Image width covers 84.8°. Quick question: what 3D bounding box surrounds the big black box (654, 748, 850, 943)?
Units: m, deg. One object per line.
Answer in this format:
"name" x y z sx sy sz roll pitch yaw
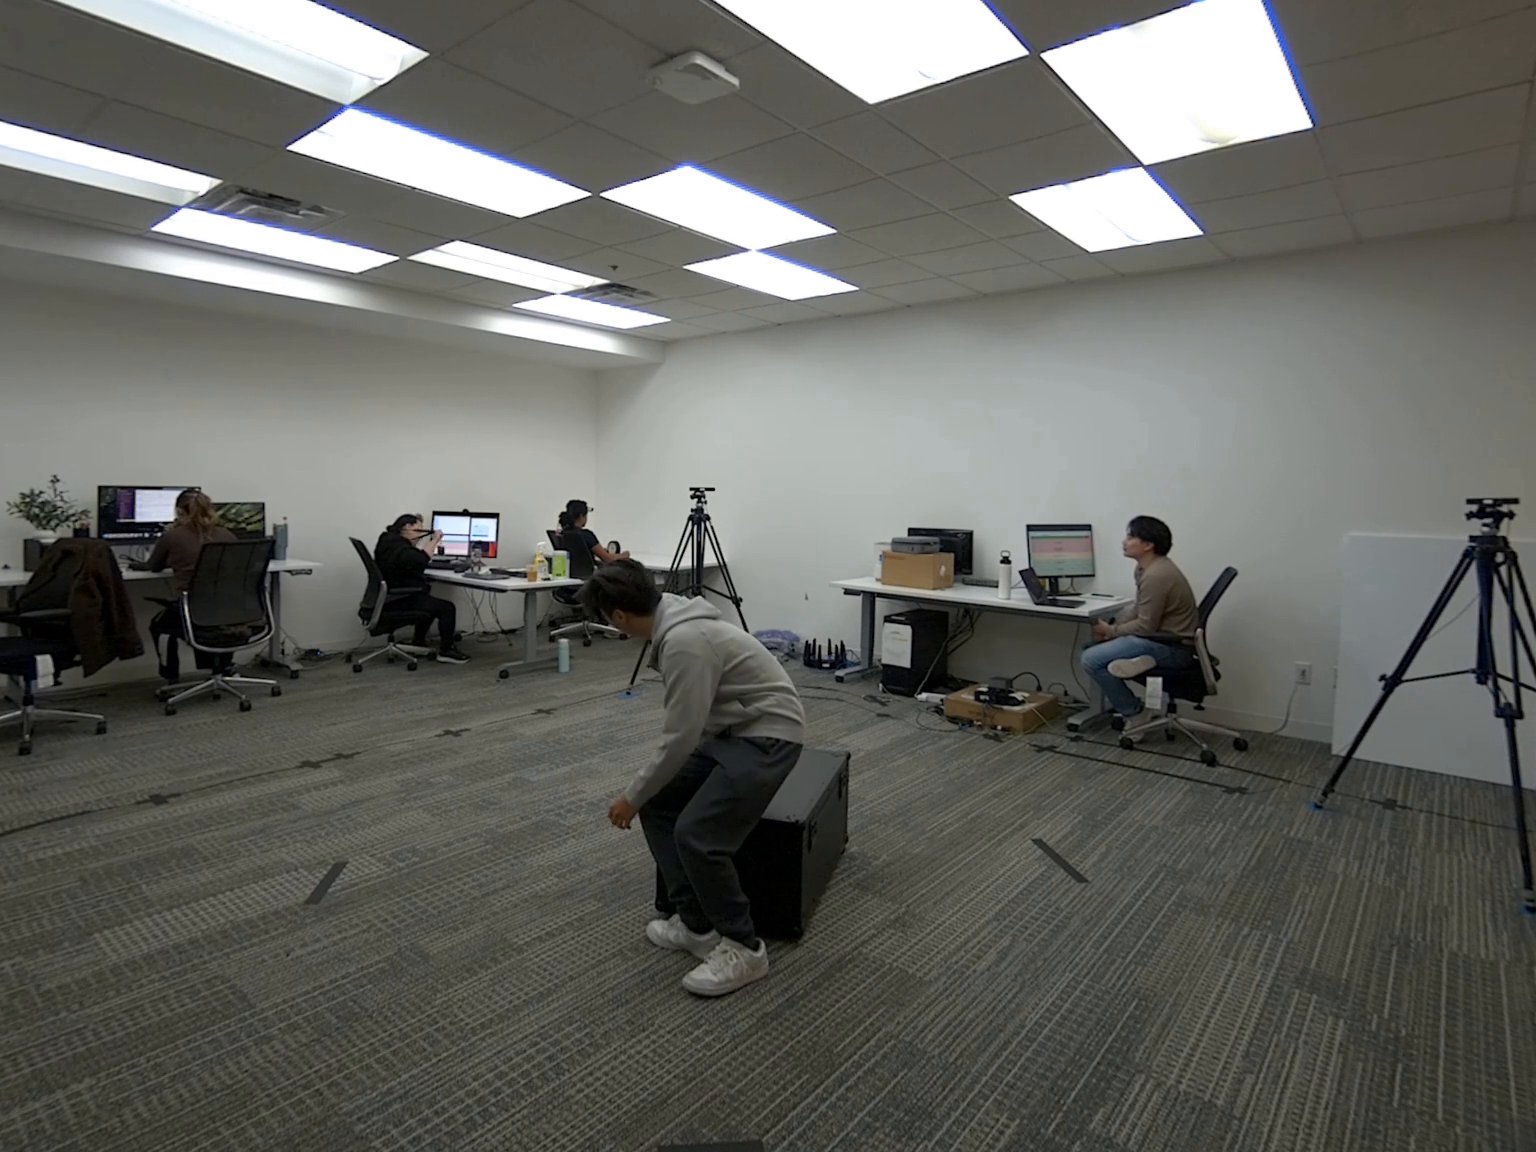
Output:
"big black box" -0.040 0.890 2.993 0.531 0.395 0.847 2 4 17
